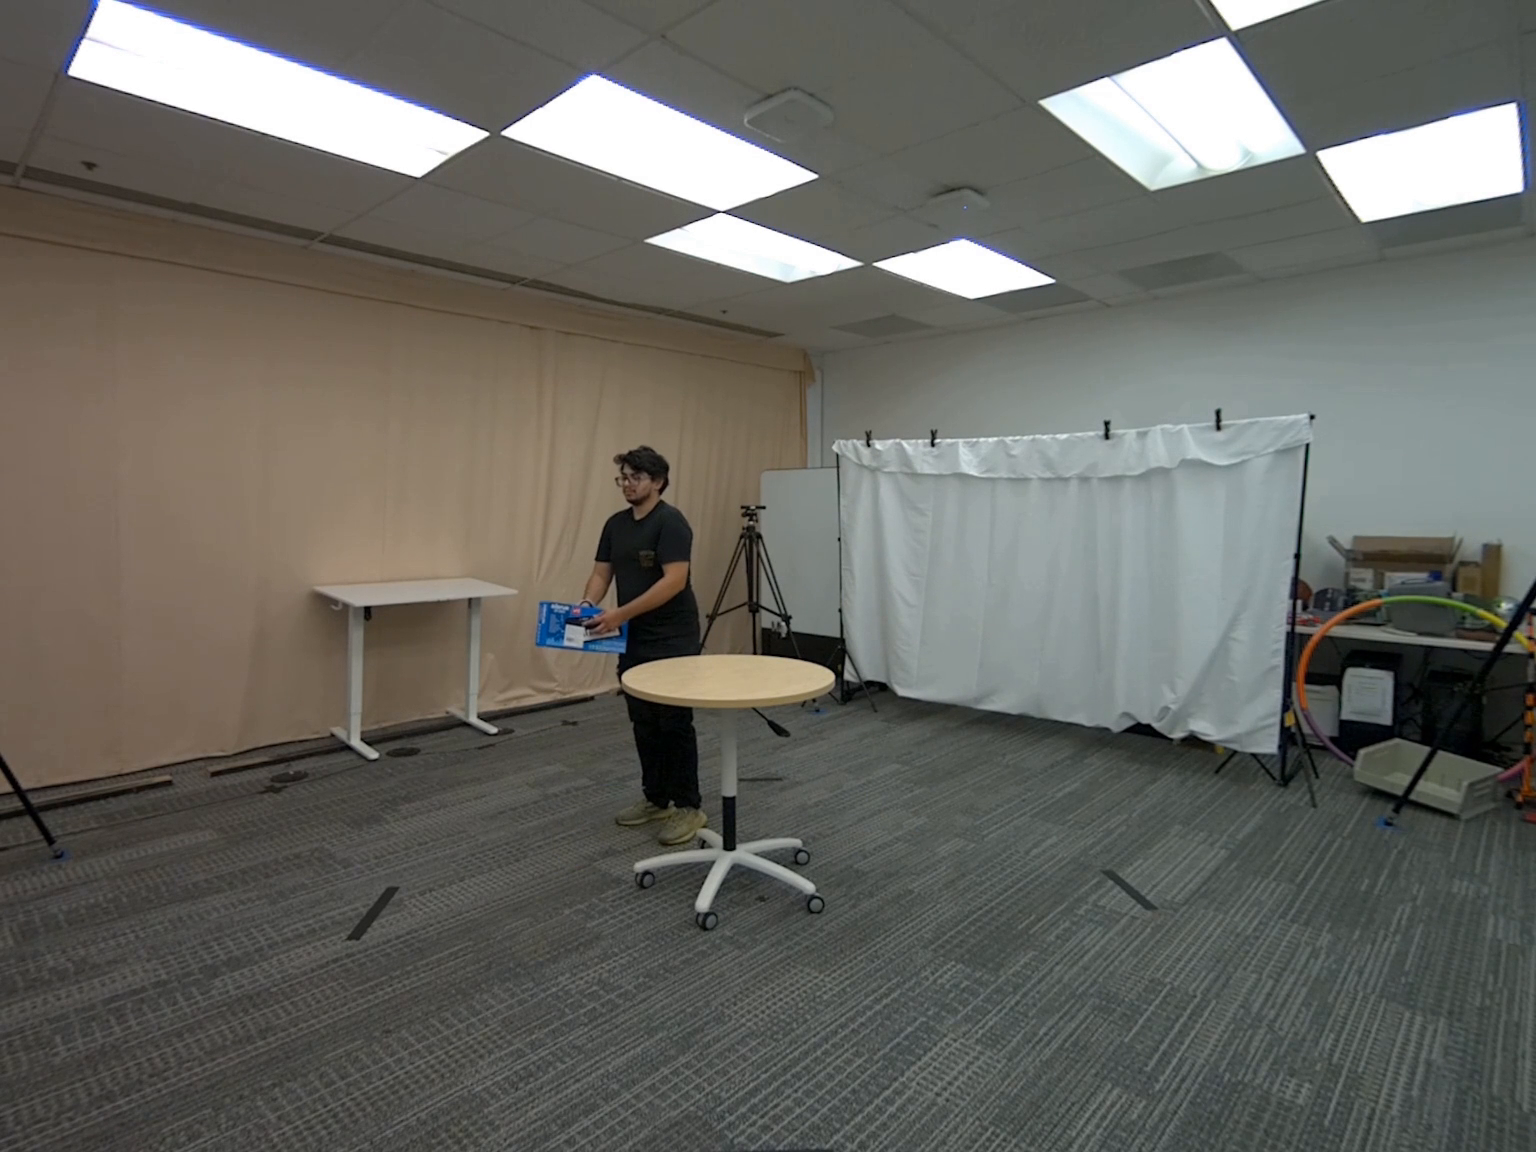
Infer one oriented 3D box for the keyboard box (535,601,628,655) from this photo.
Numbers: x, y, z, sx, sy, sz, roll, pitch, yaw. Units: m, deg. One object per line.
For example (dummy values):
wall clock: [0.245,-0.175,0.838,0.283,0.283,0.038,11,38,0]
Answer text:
keyboard box: [-0.746,0.216,3.403,0.061,0.176,0.422,-1,-9,38]
